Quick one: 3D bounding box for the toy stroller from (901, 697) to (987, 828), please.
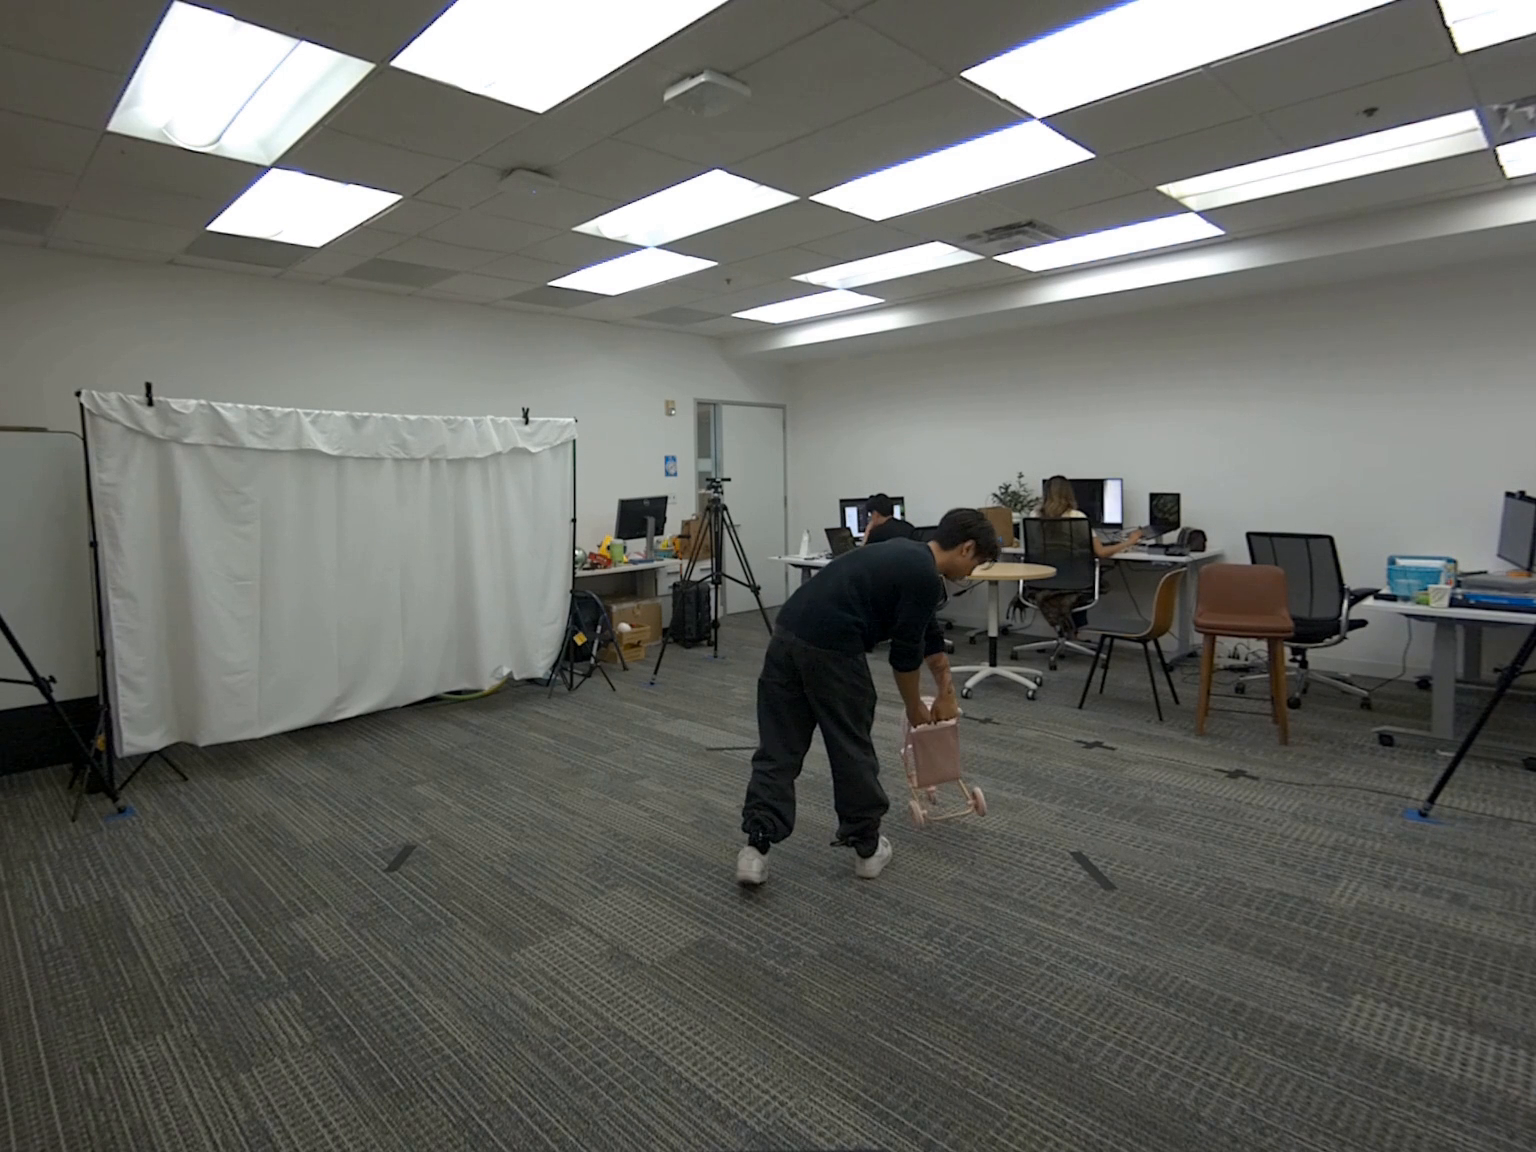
[{"bbox_3d":[0.645,0.715,3.334,0.282,0.528,0.346,-11,13,1],"label":"toy stroller"}]
